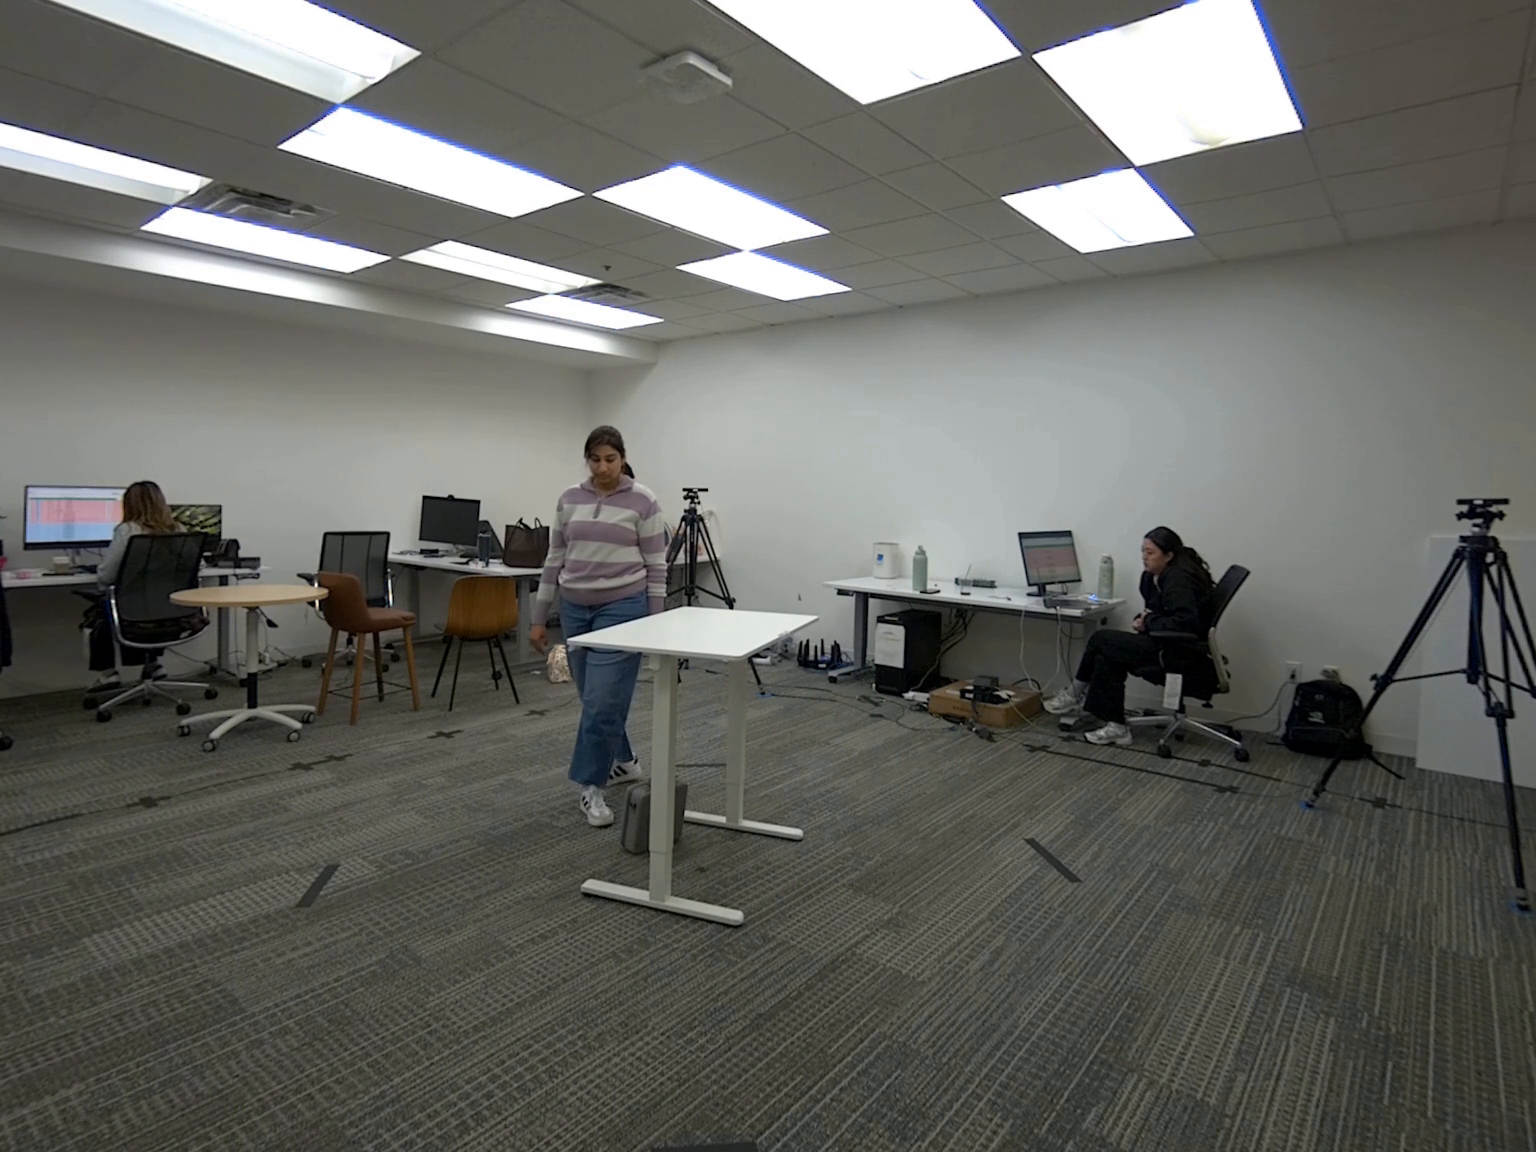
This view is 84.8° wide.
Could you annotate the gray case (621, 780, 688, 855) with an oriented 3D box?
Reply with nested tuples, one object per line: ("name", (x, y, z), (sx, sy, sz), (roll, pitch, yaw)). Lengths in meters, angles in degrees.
("gray case", (-0.448, 0.917, 3.309), (0.249, 0.259, 0.108), (-3, 13, -44))
